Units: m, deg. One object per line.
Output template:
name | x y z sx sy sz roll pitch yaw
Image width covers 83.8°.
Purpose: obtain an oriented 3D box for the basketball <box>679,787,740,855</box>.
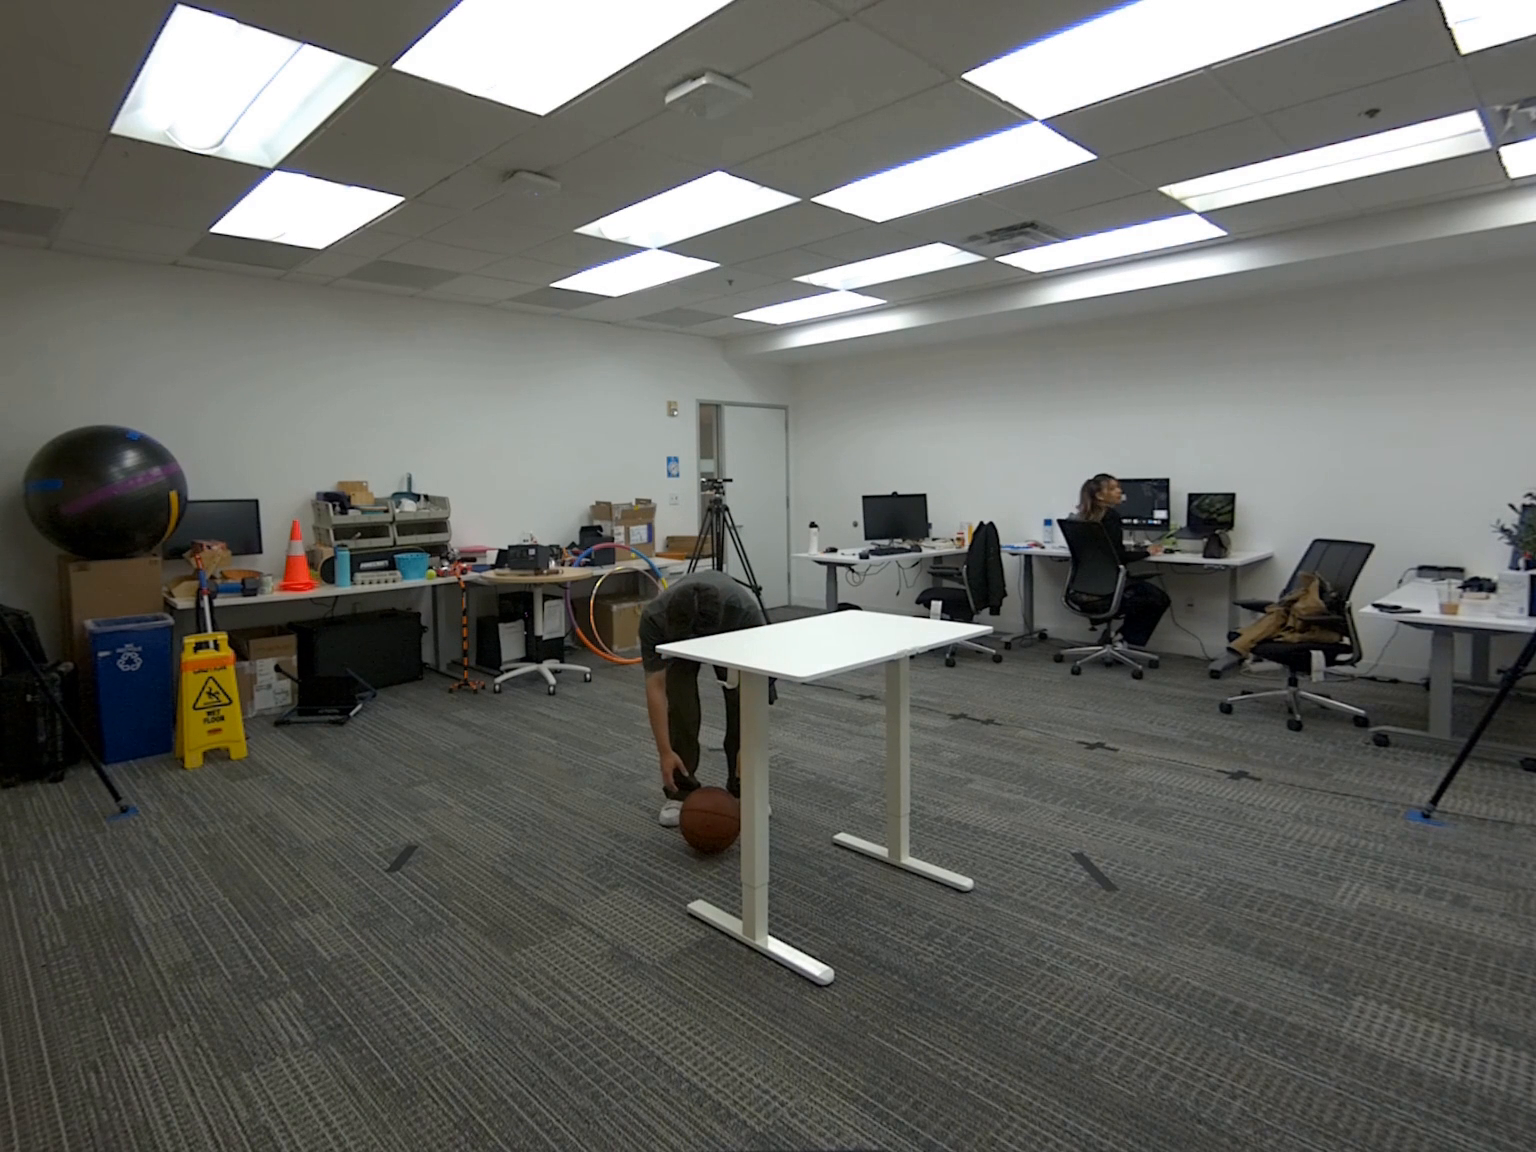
basketball | -0.217 0.916 3.221 0.236 0.235 0.237 -1 5 -2
